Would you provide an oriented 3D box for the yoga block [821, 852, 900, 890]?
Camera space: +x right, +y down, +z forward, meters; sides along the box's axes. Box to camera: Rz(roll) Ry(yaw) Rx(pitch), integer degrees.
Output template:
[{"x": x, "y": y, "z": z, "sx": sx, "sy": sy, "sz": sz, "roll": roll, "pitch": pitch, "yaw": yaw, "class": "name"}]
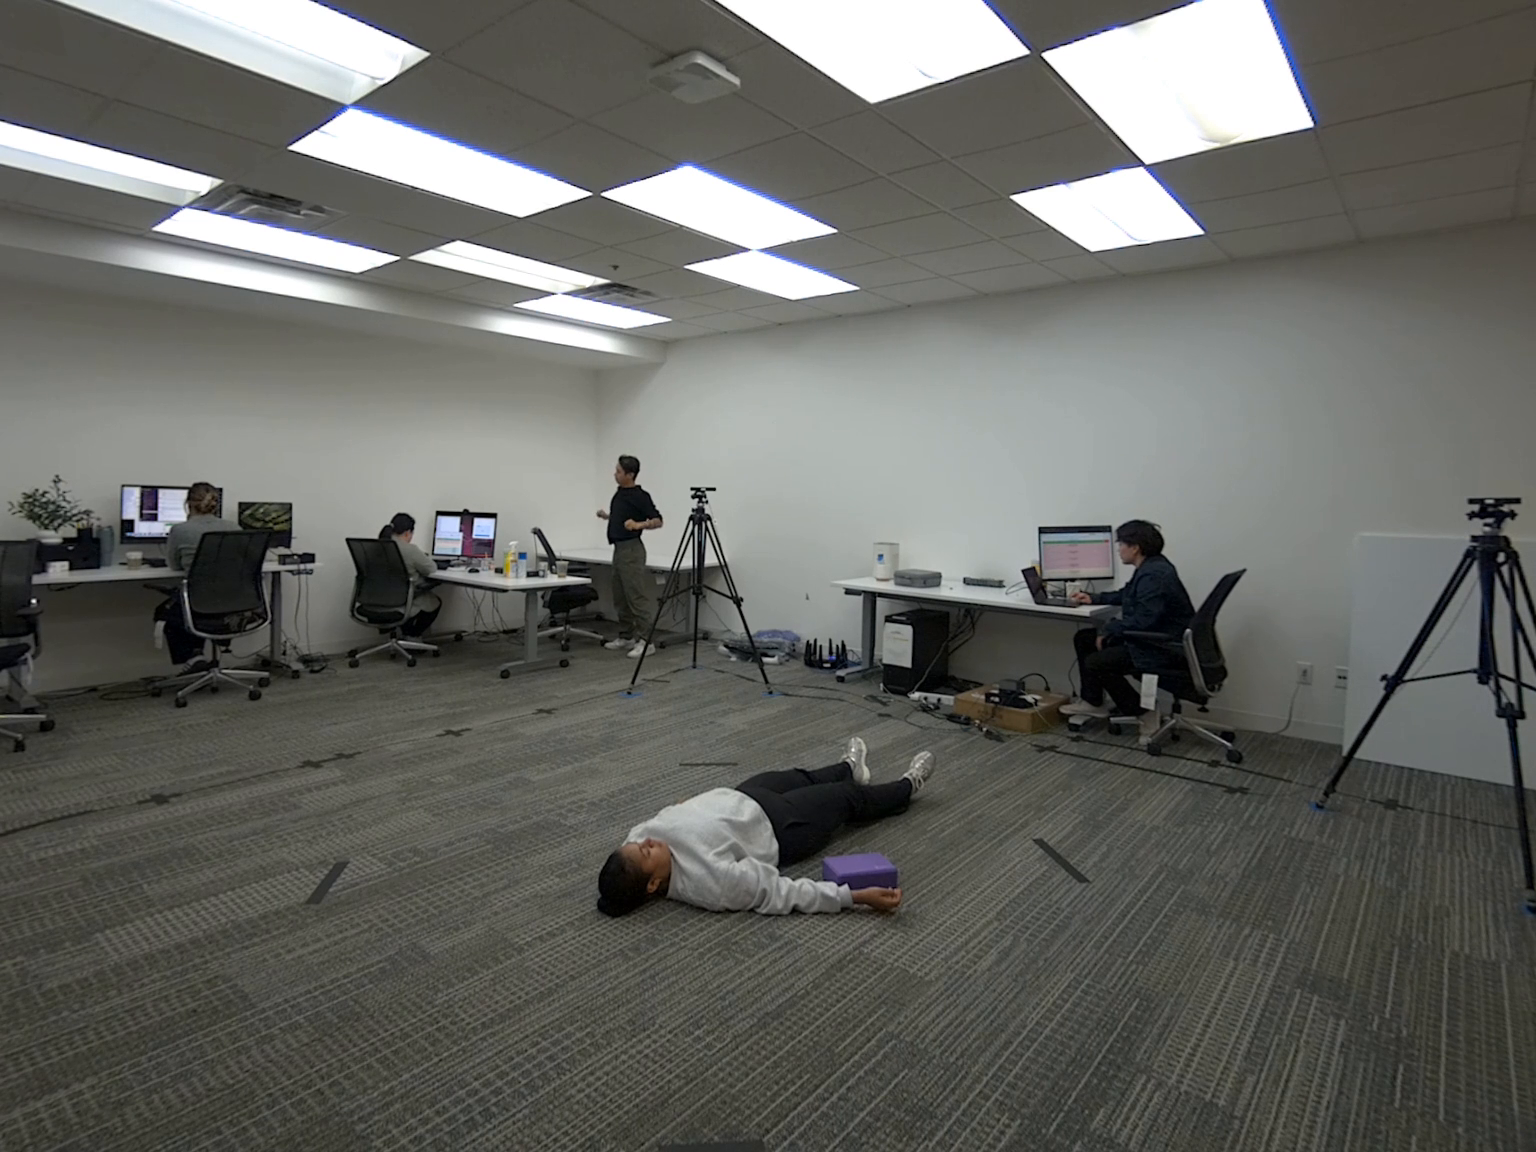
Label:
[{"x": 0.318, "y": 1.050, "z": 3.012, "sx": 0.225, "sy": 0.076, "sz": 0.152, "roll": 0, "pitch": 5, "yaw": -17, "class": "yoga block"}]
